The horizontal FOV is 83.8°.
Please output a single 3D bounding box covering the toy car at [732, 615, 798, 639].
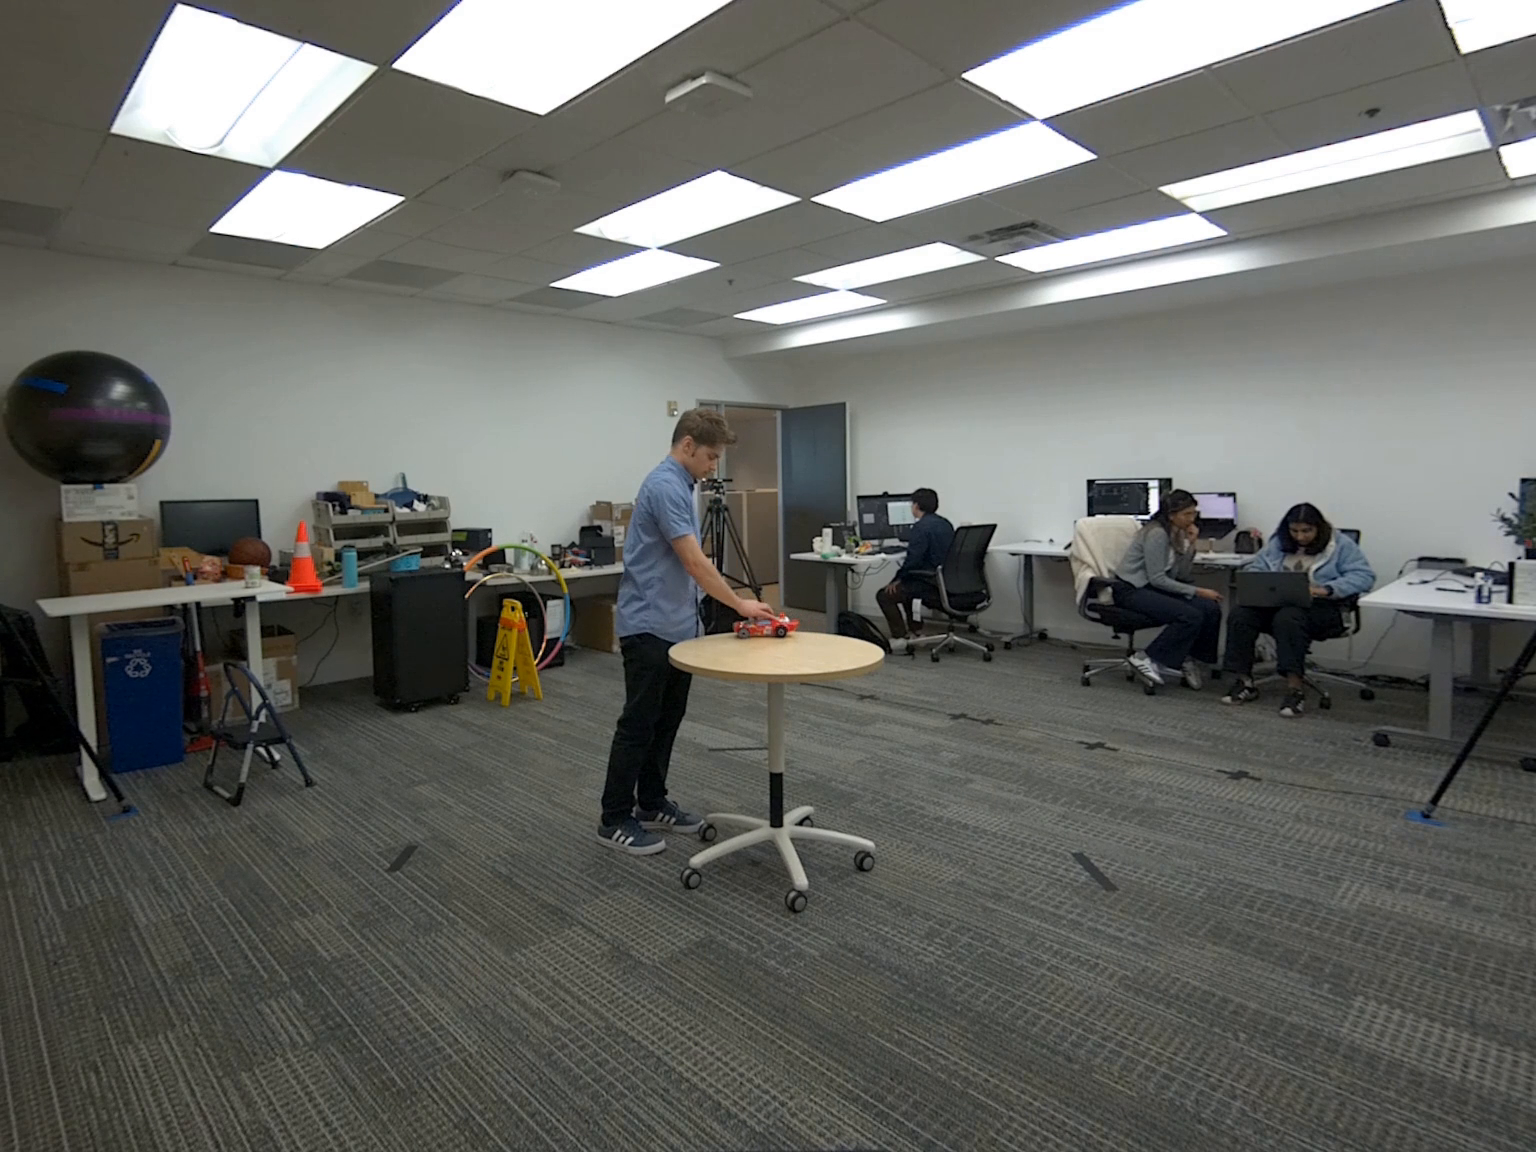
[{"bbox_3d":[-0.008,0.201,3.325,0.254,0.083,0.131,-12,7,-3],"label":"toy car"}]
